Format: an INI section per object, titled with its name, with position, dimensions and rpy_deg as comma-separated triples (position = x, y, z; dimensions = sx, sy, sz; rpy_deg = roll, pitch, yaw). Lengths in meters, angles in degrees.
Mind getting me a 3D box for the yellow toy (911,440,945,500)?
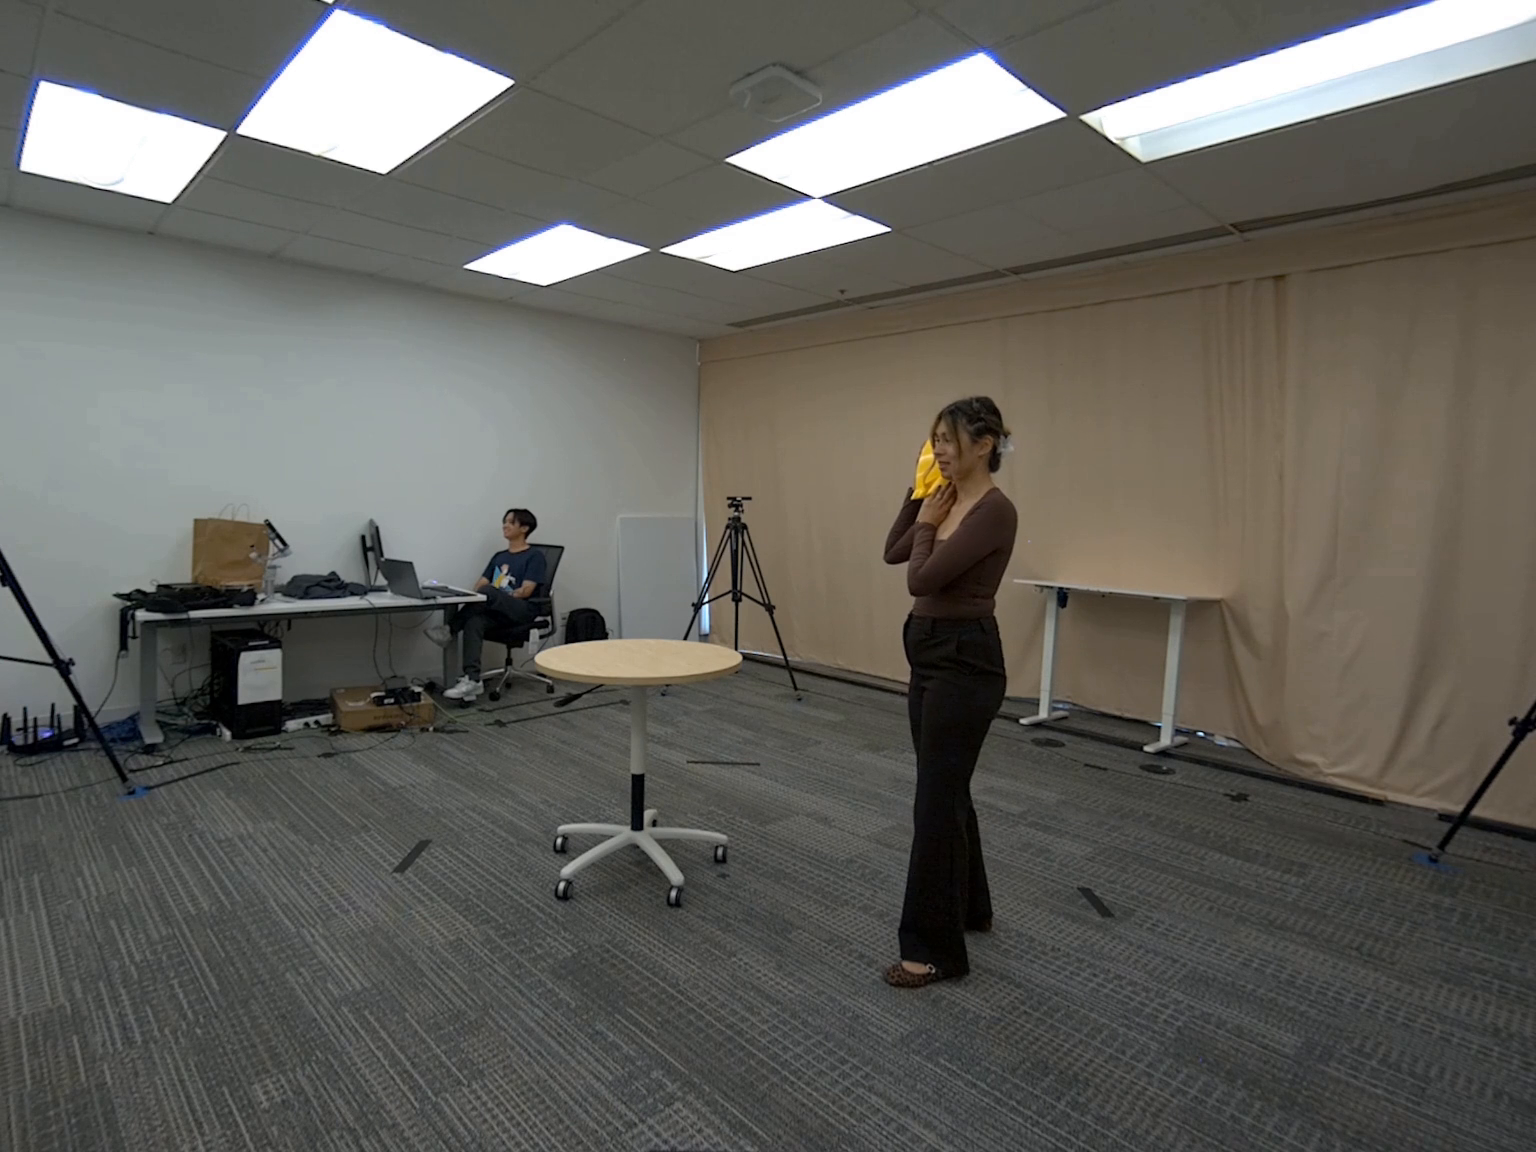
[yellow toy]
position = 0.543, -0.376, 2.662
dimensions = 0.191, 0.231, 0.206
rpy_deg = -9, -3, -14
